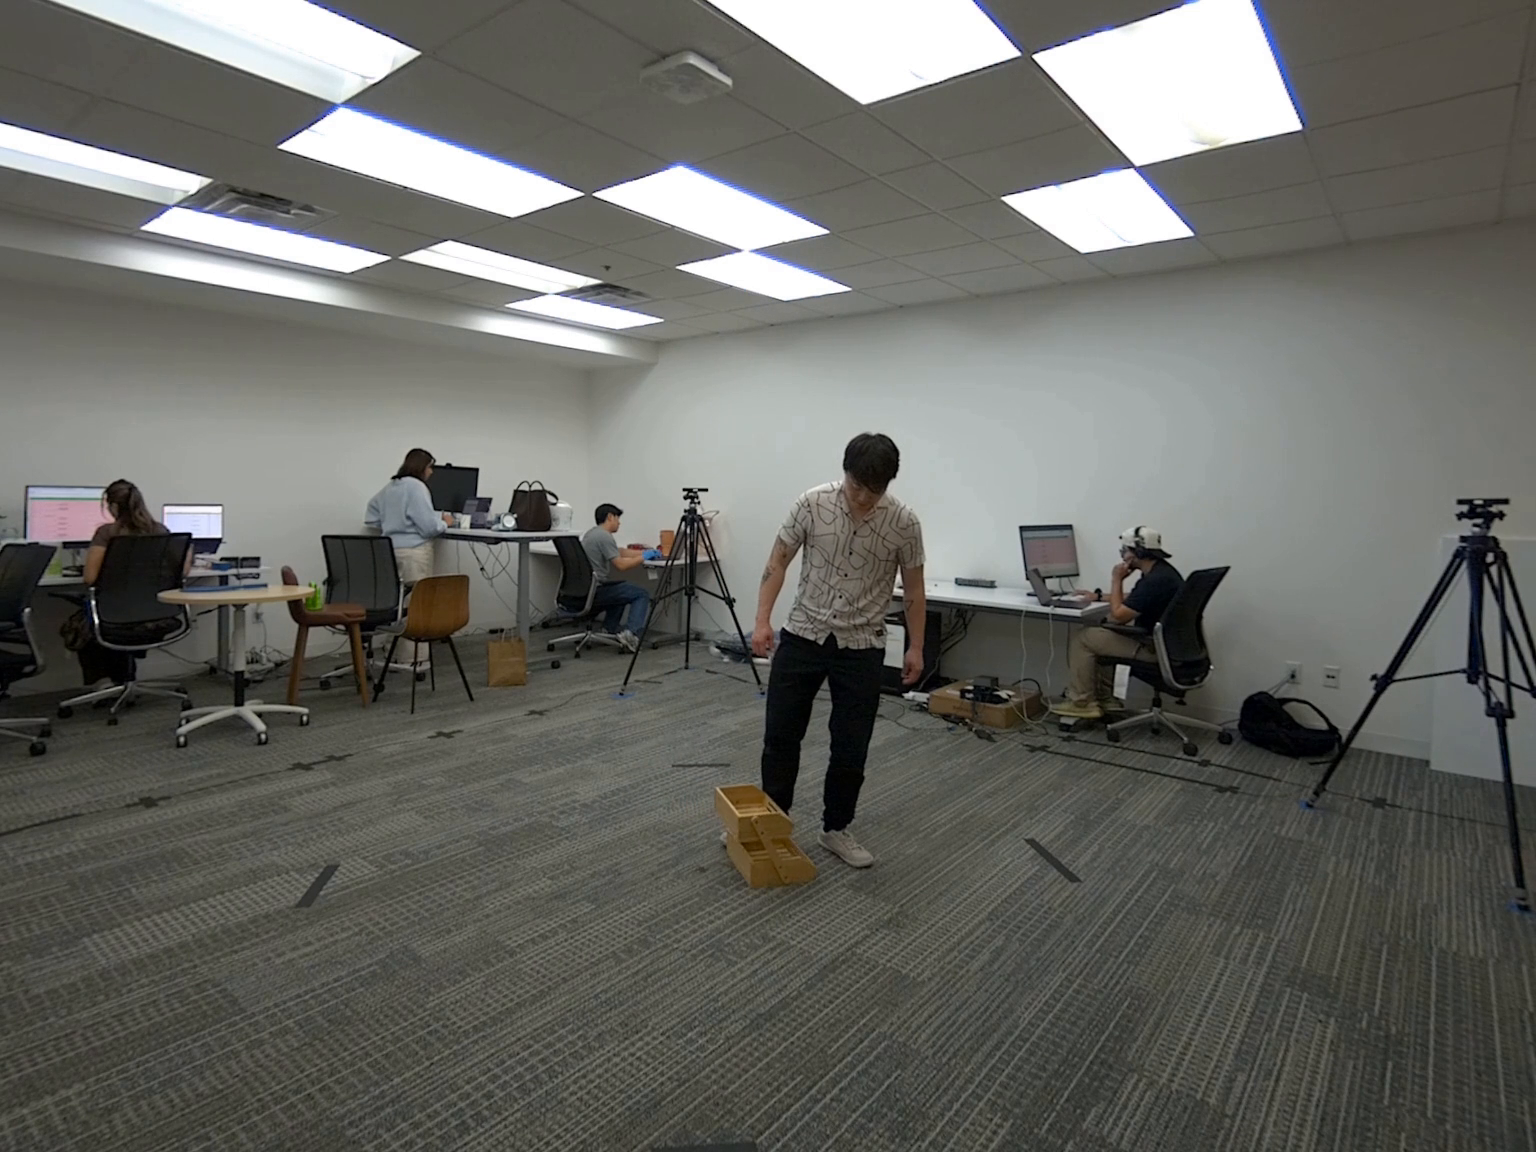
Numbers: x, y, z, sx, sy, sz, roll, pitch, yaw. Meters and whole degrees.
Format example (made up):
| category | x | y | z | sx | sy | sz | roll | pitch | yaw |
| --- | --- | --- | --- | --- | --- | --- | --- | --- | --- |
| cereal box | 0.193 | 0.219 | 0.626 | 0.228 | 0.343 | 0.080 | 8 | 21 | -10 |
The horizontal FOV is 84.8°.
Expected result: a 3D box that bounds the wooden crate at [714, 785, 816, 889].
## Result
| category | x | y | z | sx | sy | sz | roll | pitch | yaw |
| --- | --- | --- | --- | --- | --- | --- | --- | --- | --- |
| wooden crate | -0.014 | 0.938 | 3.125 | 0.296 | 0.272 | 0.332 | 0 | 5 | -19 |
